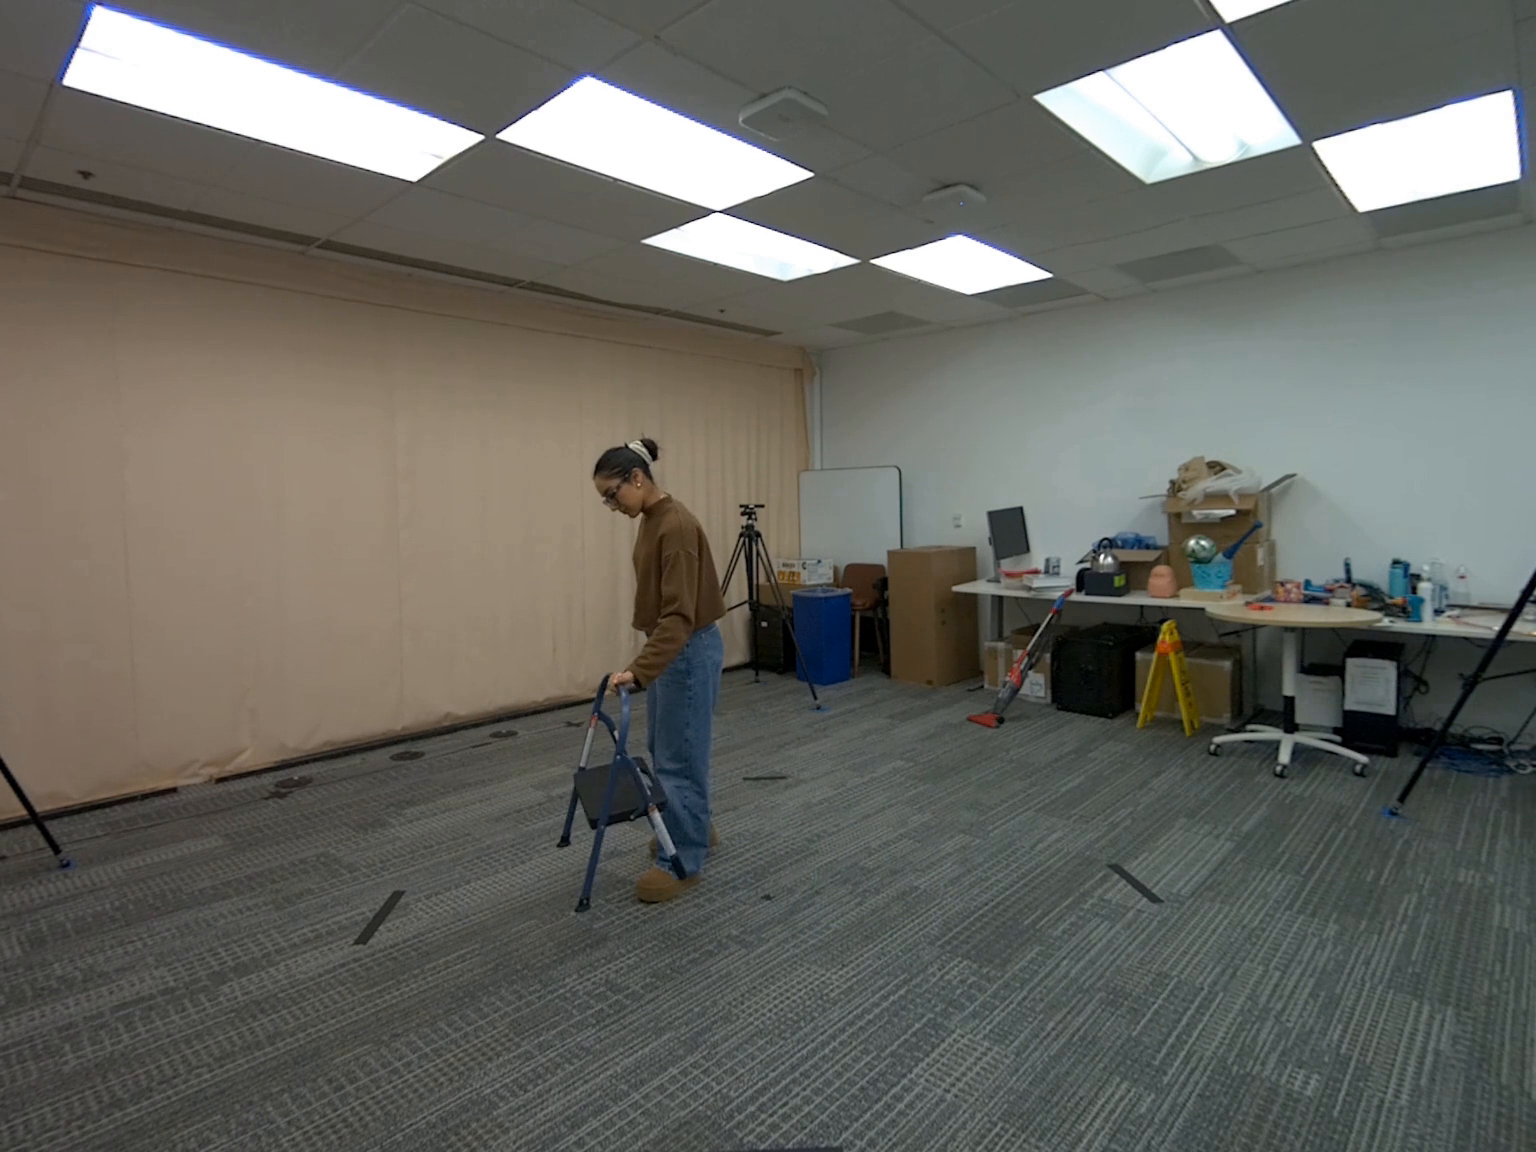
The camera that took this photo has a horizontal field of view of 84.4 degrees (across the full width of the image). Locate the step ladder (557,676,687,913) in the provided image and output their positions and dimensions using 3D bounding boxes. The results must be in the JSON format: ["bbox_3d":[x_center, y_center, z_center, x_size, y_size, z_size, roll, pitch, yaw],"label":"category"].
[{"bbox_3d":[-0.507,0.636,2.664,0.343,0.601,0.442,-10,12,-20],"label":"step ladder"}]
